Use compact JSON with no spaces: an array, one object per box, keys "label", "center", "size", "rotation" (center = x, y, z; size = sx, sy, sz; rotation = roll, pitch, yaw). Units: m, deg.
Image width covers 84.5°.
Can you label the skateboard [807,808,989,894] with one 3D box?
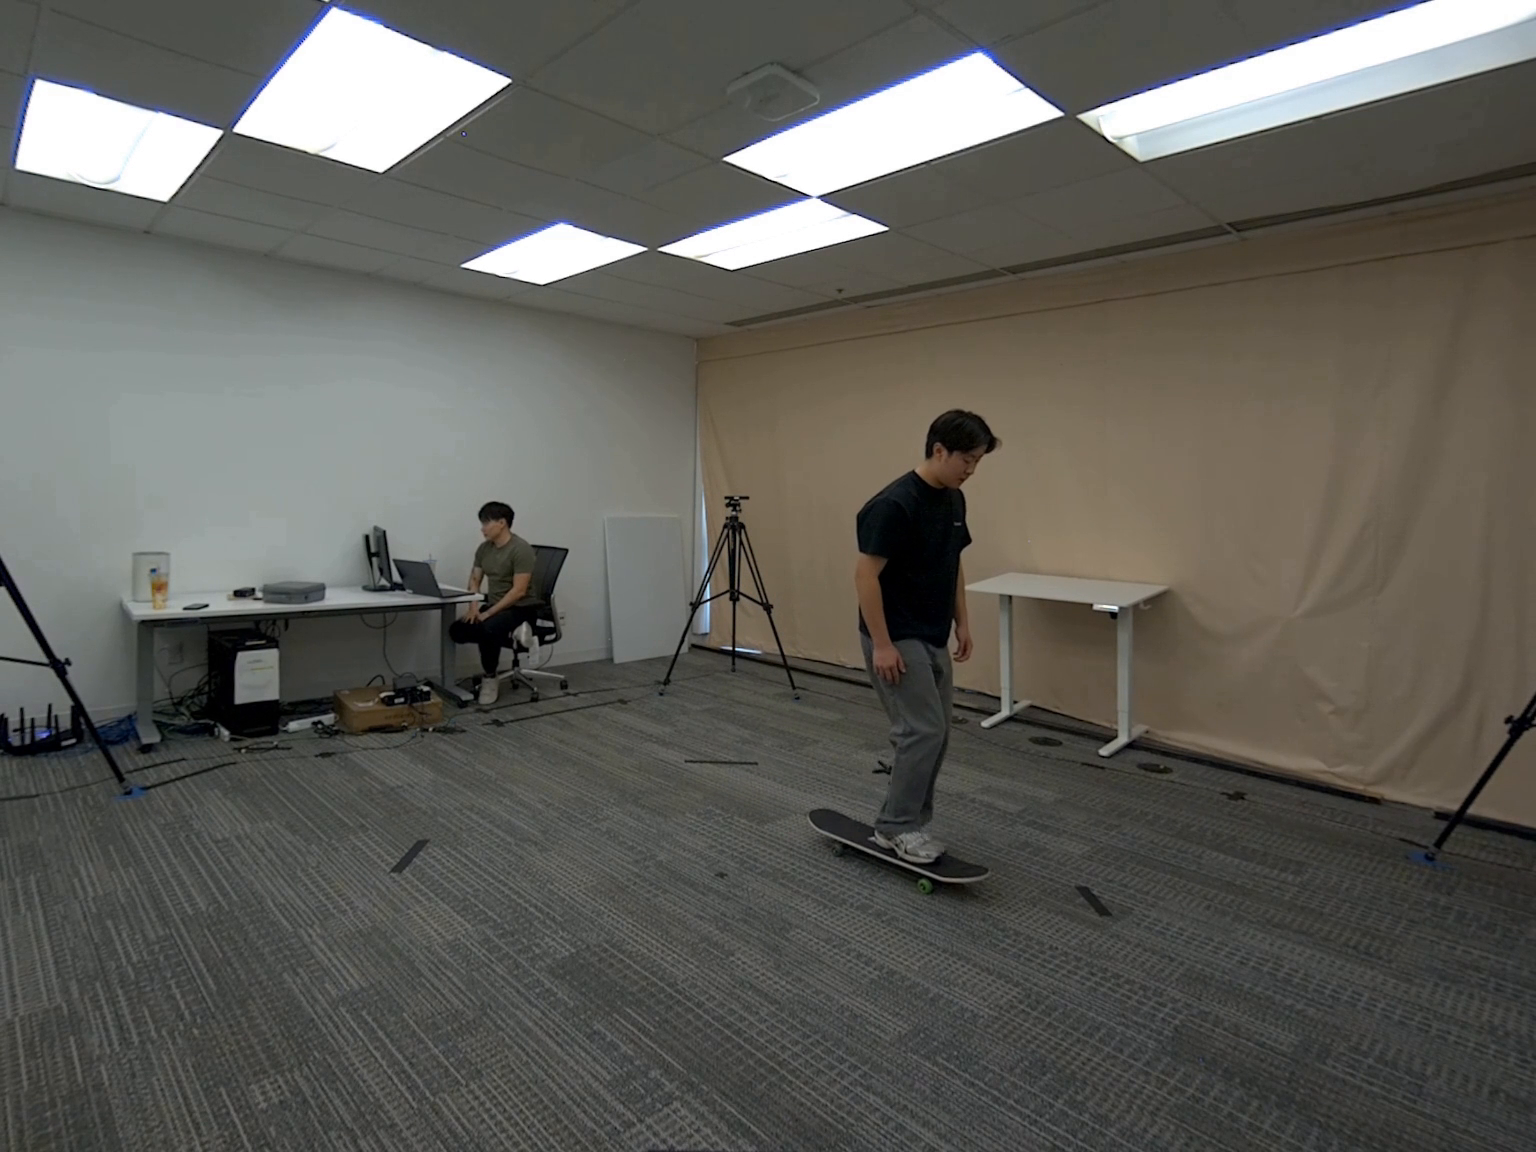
[{"label":"skateboard","center":[0.461,1.063,3.205],"size":[0.189,0.110,0.806],"rotation":[-4,7,-45]}]
